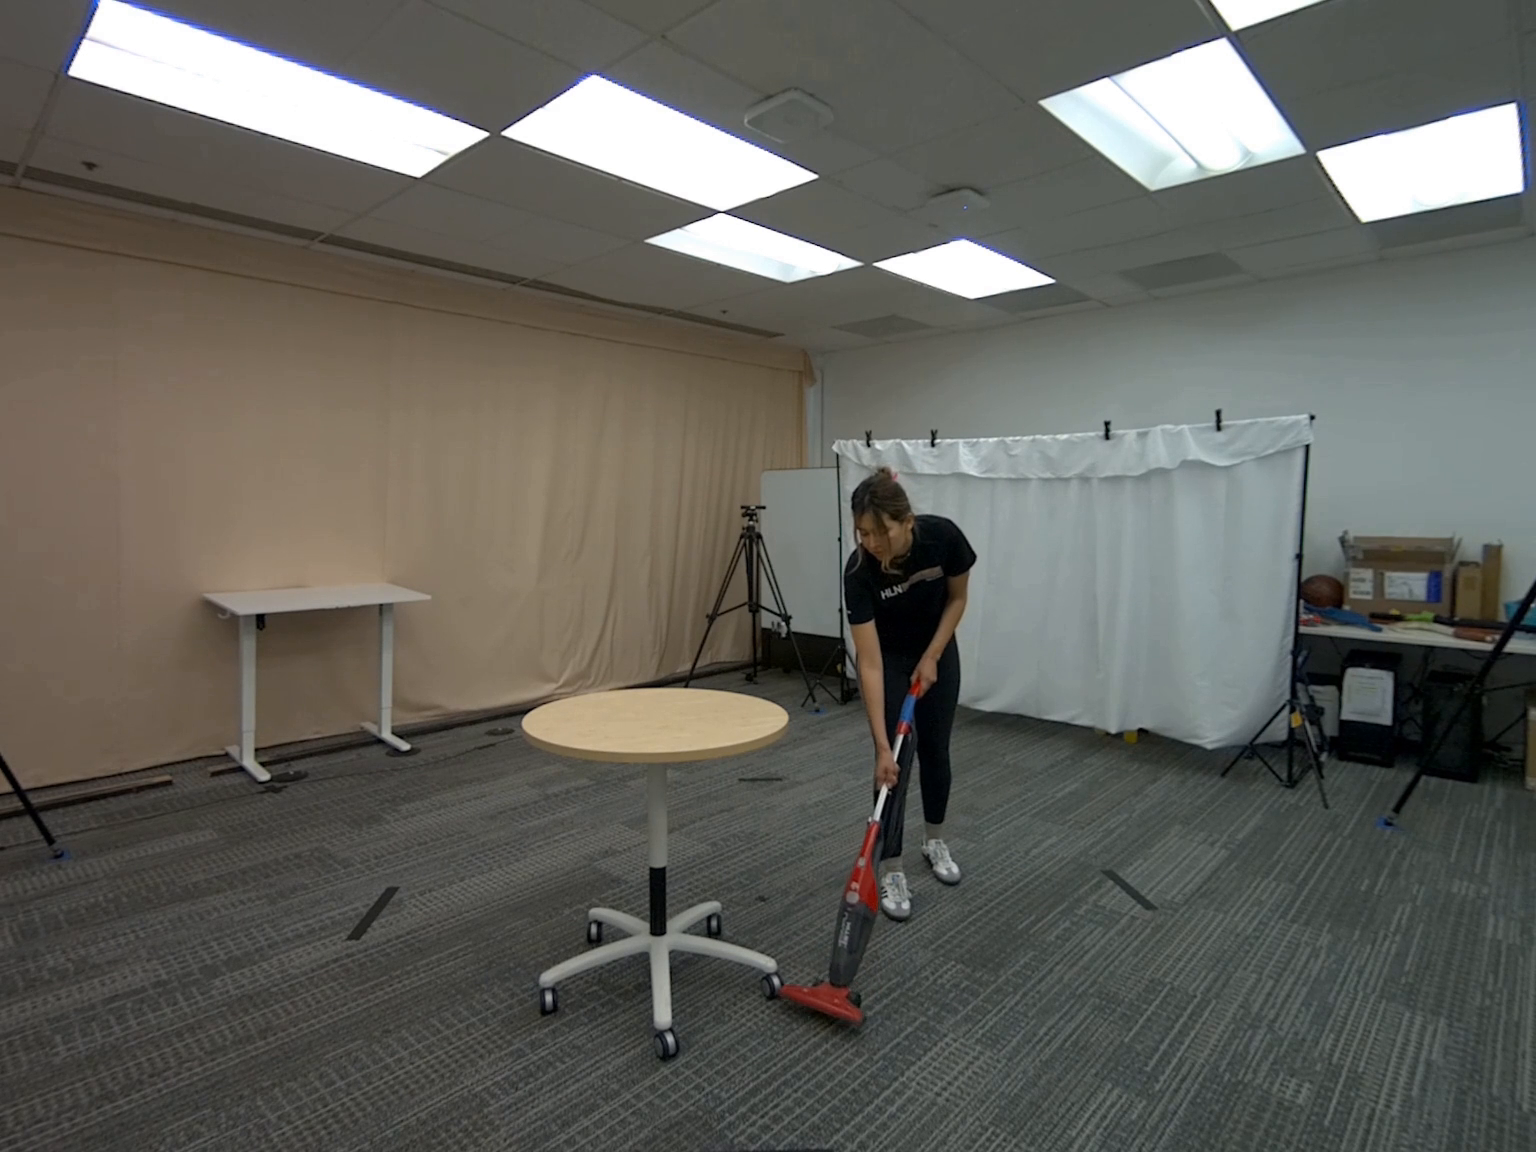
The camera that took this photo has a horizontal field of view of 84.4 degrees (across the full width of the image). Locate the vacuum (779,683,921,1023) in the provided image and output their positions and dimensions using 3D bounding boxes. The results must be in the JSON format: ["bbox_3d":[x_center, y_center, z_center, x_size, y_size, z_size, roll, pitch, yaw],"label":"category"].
[{"bbox_3d":[0.349,0.774,2.569,0.260,1.053,0.139,2,-37,30],"label":"vacuum"}]
